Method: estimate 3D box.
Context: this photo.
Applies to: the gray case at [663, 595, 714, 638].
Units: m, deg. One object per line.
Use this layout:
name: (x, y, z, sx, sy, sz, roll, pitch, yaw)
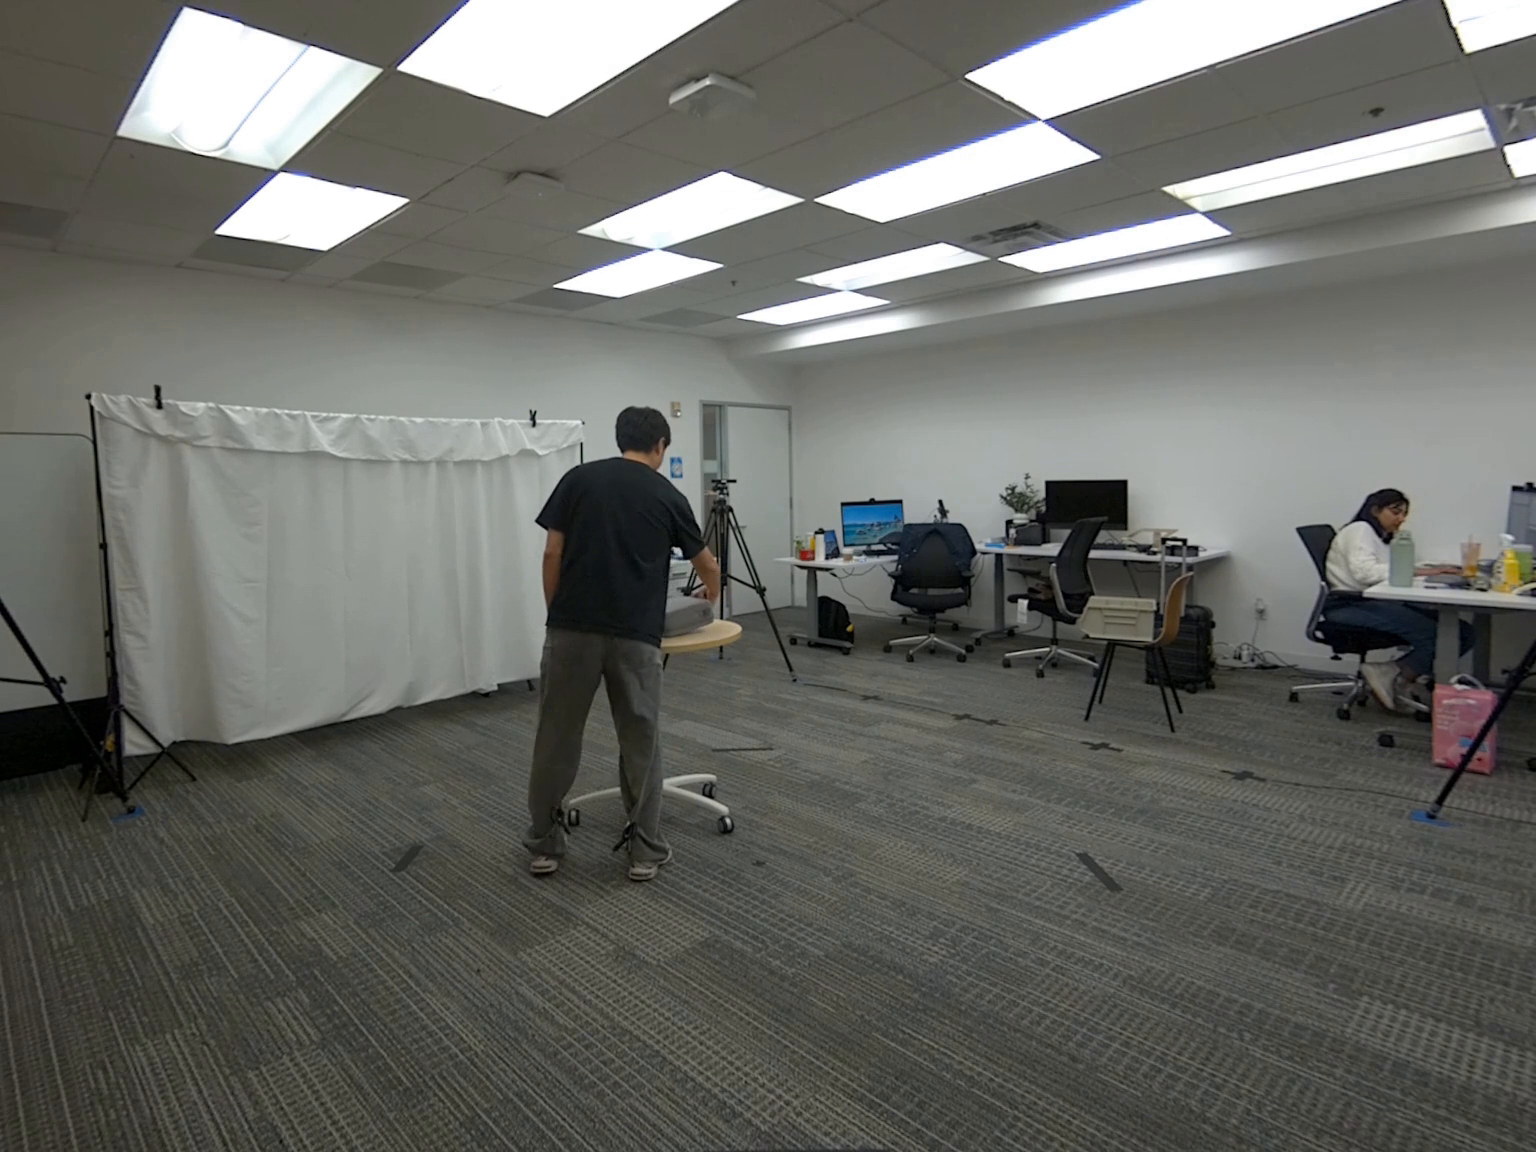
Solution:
gray case: (-0.378, 0.154, 3.487, 0.281, 0.102, 0.271, -16, 14, -35)
